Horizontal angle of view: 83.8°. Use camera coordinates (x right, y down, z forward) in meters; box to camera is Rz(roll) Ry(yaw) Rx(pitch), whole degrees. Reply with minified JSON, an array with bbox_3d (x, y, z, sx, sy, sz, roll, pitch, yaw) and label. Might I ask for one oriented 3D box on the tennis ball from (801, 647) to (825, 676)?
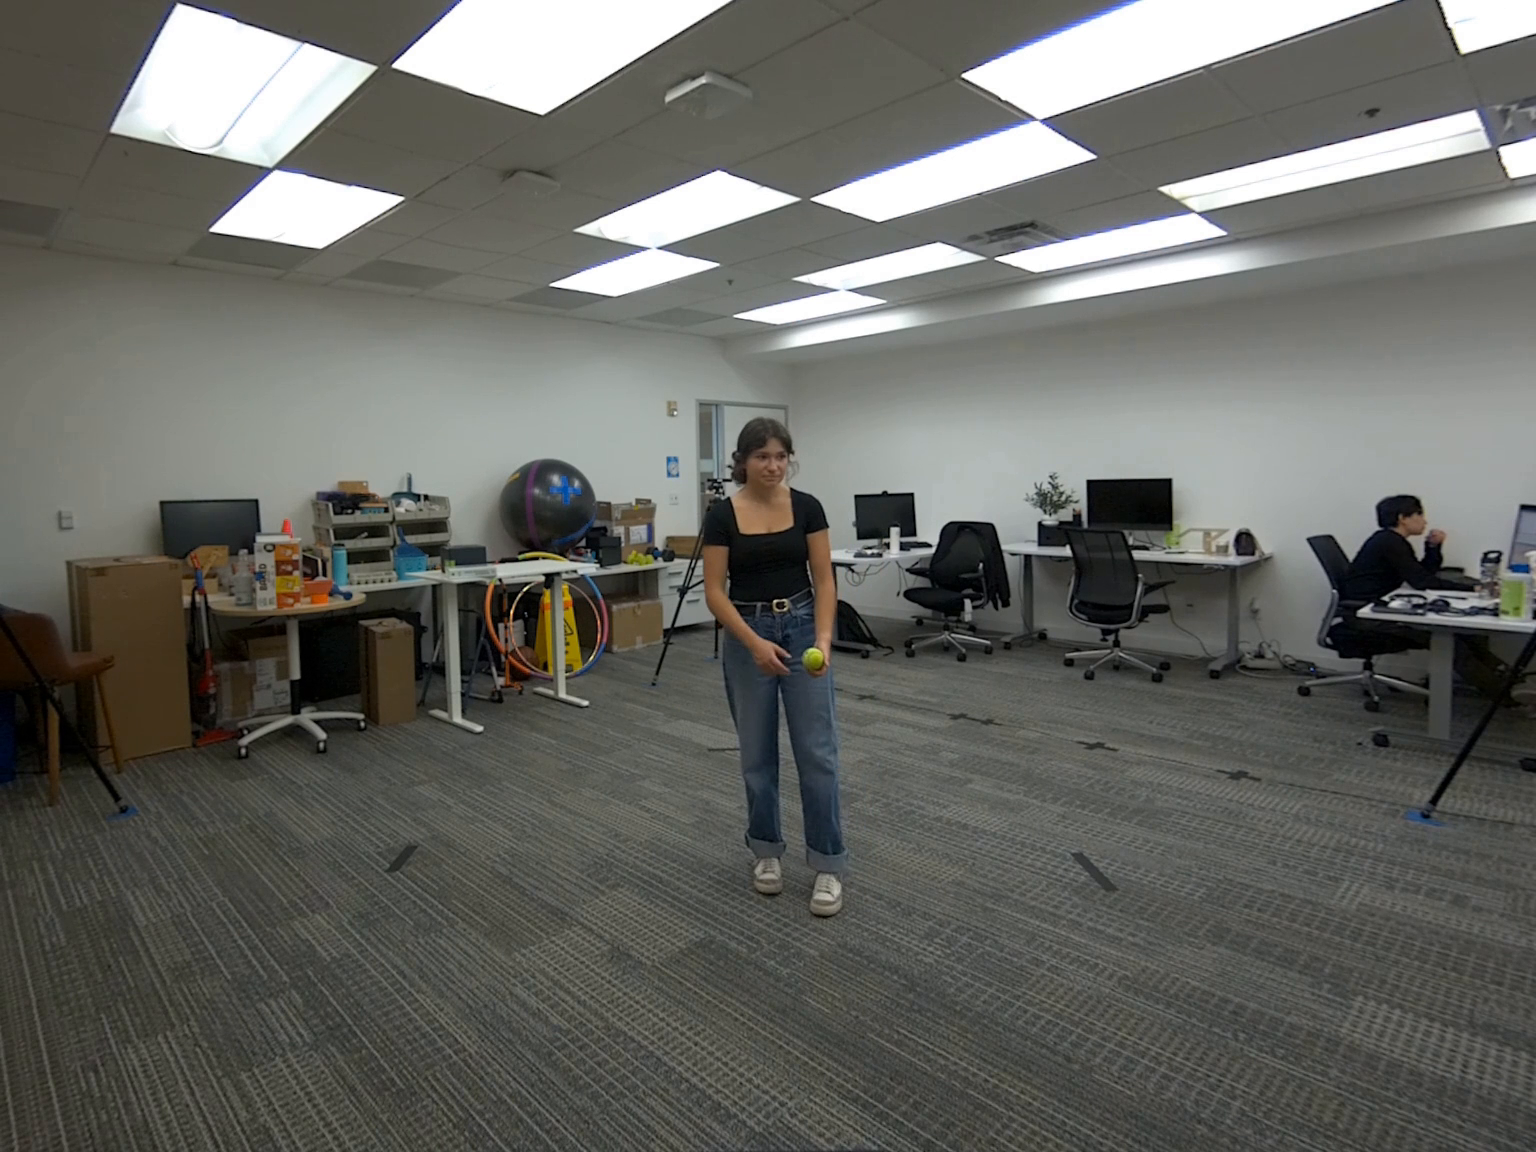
[{"bbox_3d":[0.138,0.259,2.657,0.066,0.066,0.067,-1,5,-2],"label":"tennis ball"}]
